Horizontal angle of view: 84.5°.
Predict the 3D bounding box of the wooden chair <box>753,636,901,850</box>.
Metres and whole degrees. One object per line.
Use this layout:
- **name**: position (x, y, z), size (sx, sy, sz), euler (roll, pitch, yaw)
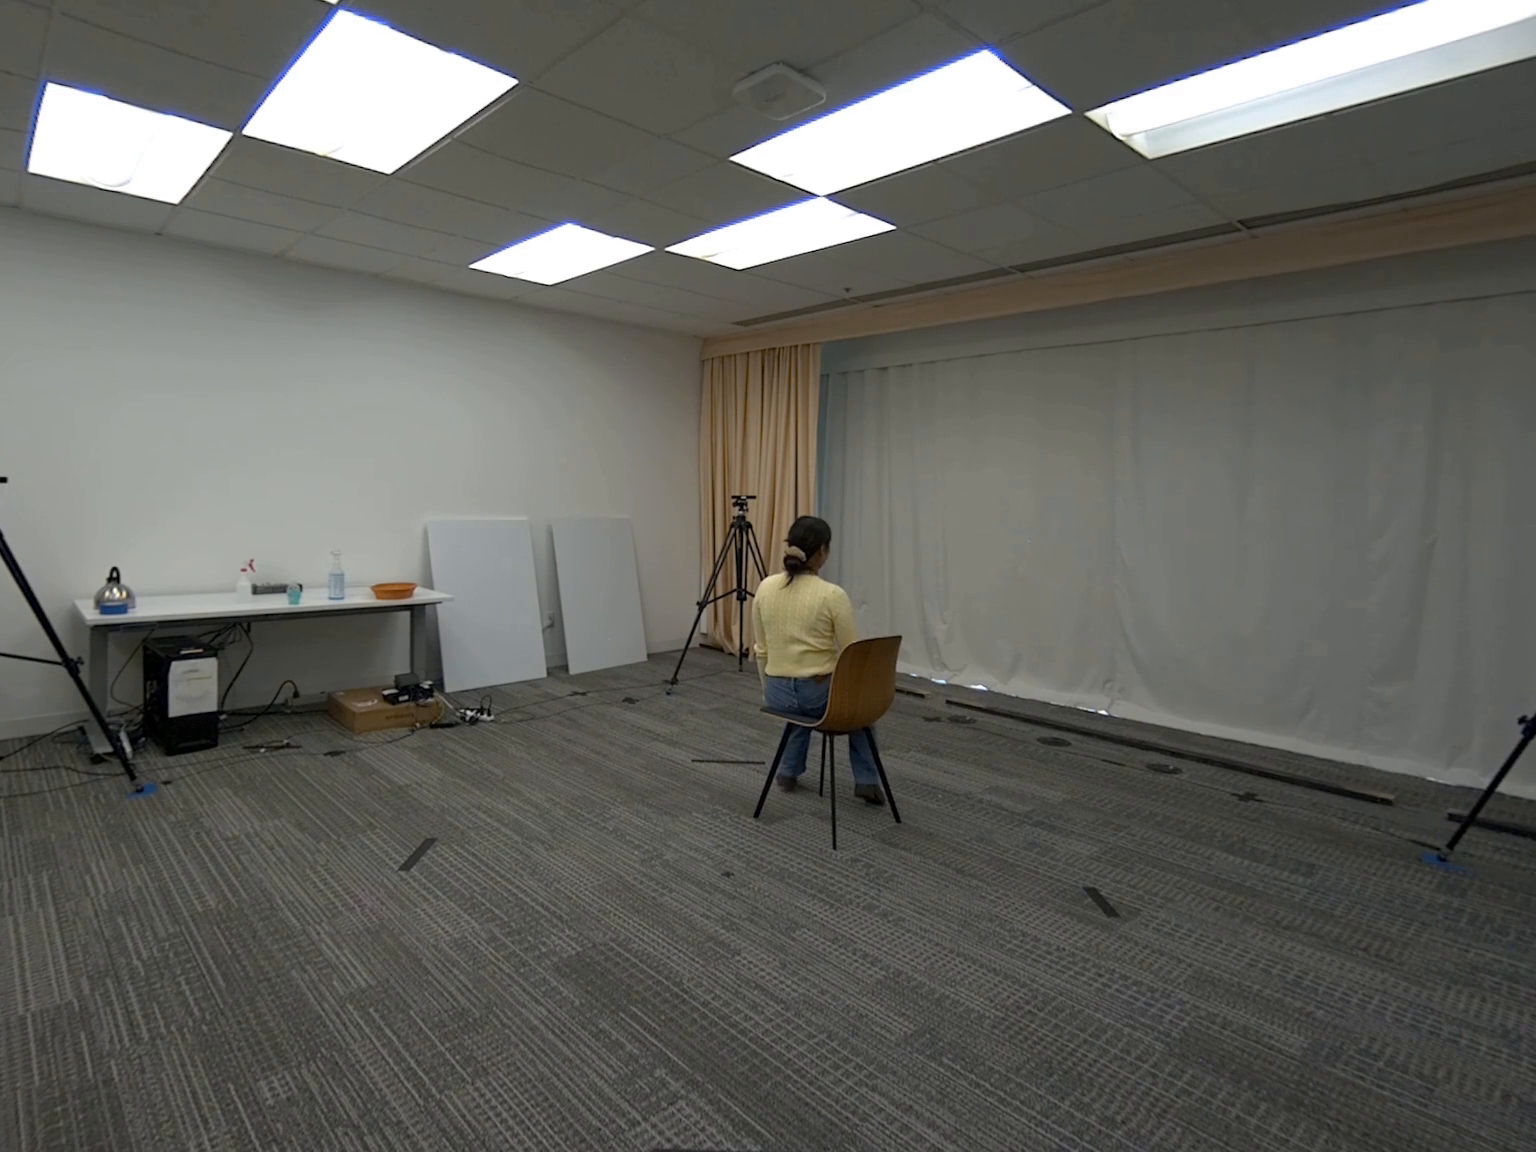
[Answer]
- **wooden chair**: position (0.243, 0.636, 3.631), size (0.467, 0.874, 0.537), euler (-2, 8, -45)
